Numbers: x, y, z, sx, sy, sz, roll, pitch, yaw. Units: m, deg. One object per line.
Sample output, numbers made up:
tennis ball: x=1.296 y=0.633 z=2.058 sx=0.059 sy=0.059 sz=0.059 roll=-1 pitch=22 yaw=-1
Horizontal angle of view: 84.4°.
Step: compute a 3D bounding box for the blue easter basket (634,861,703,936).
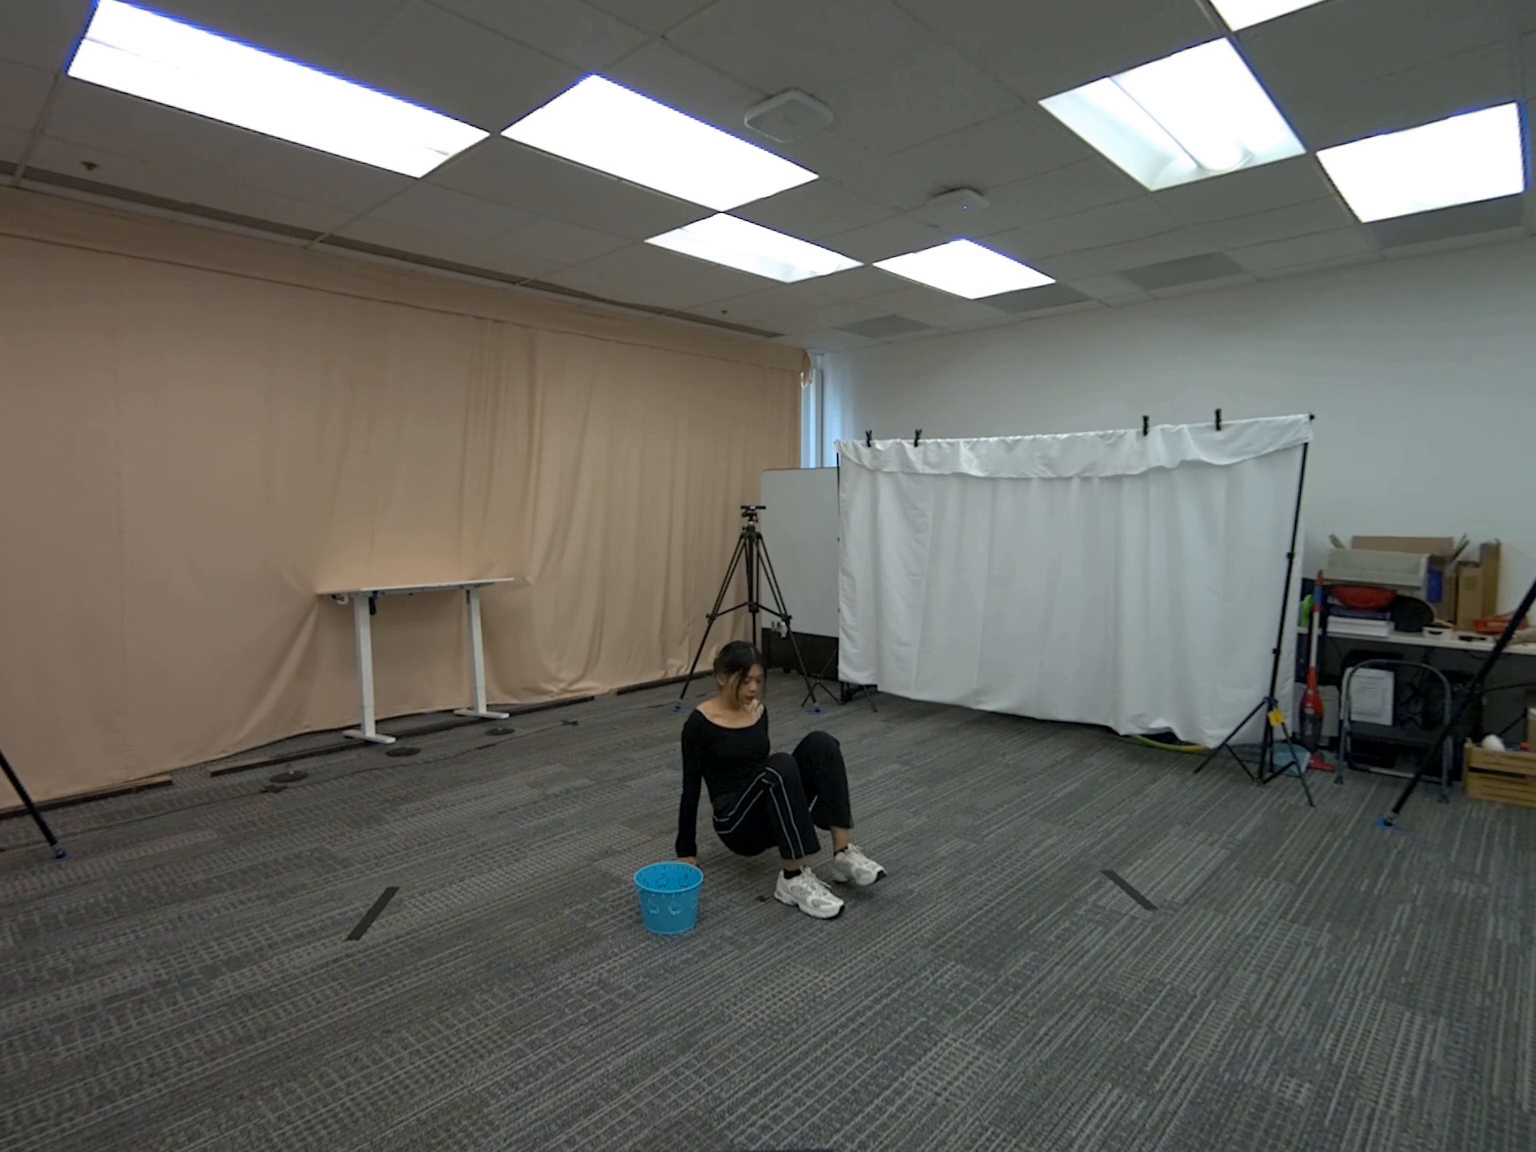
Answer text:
blue easter basket: x=-0.332 y=1.079 z=2.832 sx=0.243 sy=0.155 sz=0.244 roll=-1 pitch=5 yaw=-2
